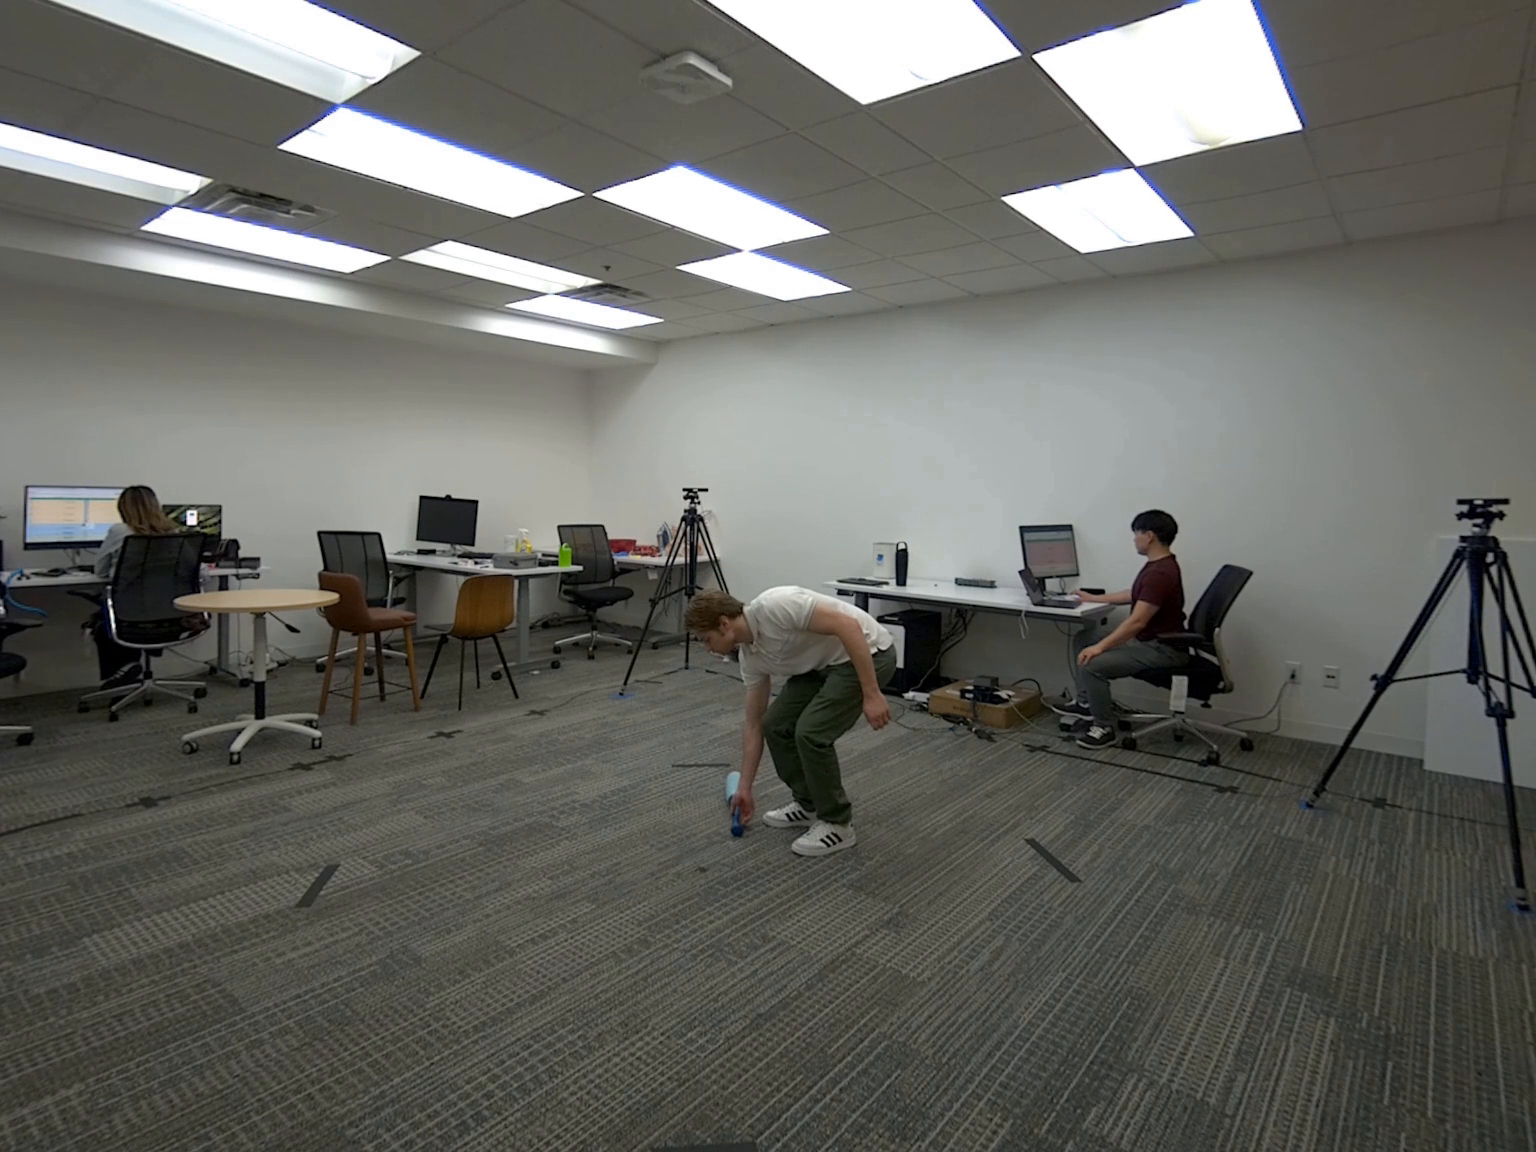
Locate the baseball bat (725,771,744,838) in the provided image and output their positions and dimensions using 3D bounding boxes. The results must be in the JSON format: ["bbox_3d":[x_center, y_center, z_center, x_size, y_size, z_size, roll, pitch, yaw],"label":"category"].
[{"bbox_3d":[-0.150,0.975,3.665,0.089,0.088,0.547,1,8,-2],"label":"baseball bat"}]
